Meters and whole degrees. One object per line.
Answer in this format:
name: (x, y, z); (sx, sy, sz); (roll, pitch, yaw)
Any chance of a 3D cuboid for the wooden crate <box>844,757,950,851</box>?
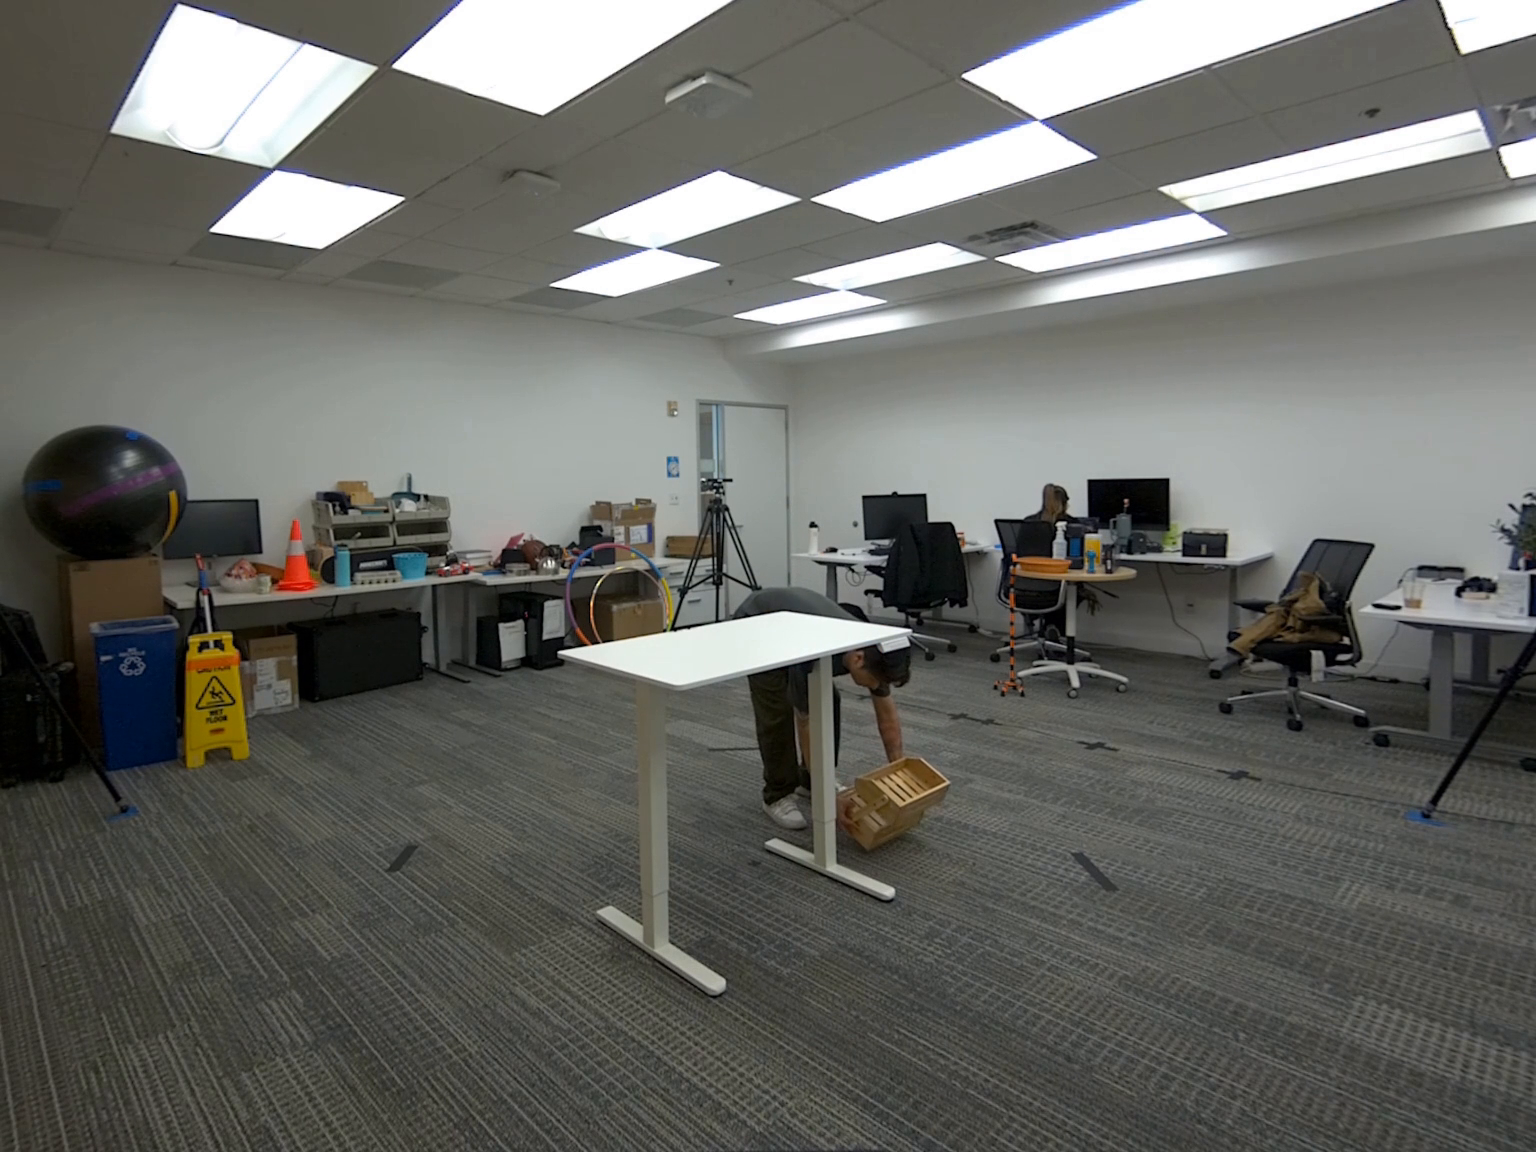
wooden crate: (0.447, 0.828, 3.250); (0.316, 0.269, 0.314); (-10, 34, -42)
